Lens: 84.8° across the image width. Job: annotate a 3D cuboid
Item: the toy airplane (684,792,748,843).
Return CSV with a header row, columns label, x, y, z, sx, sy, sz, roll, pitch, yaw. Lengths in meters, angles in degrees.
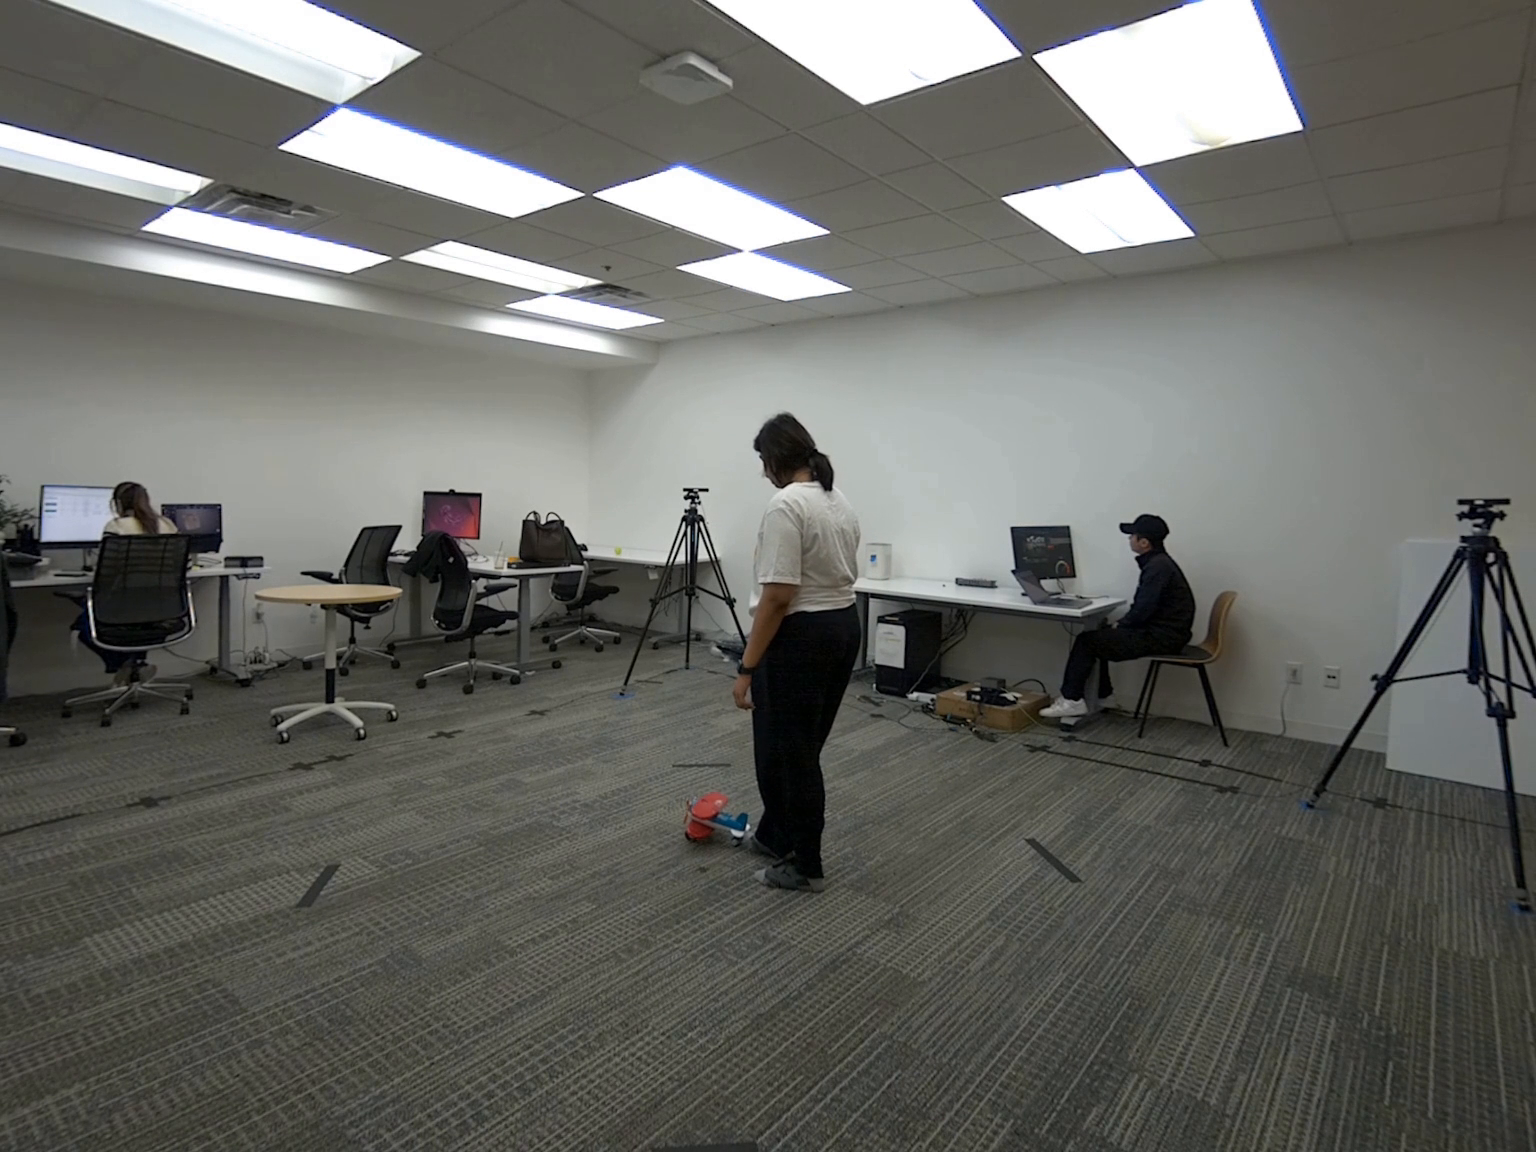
label,x,y,z,sx,sy,sz,roll,pitch,yaw
toy airplane,-0.213,0.966,3.387,0.257,0.156,0.254,-1,4,-9
